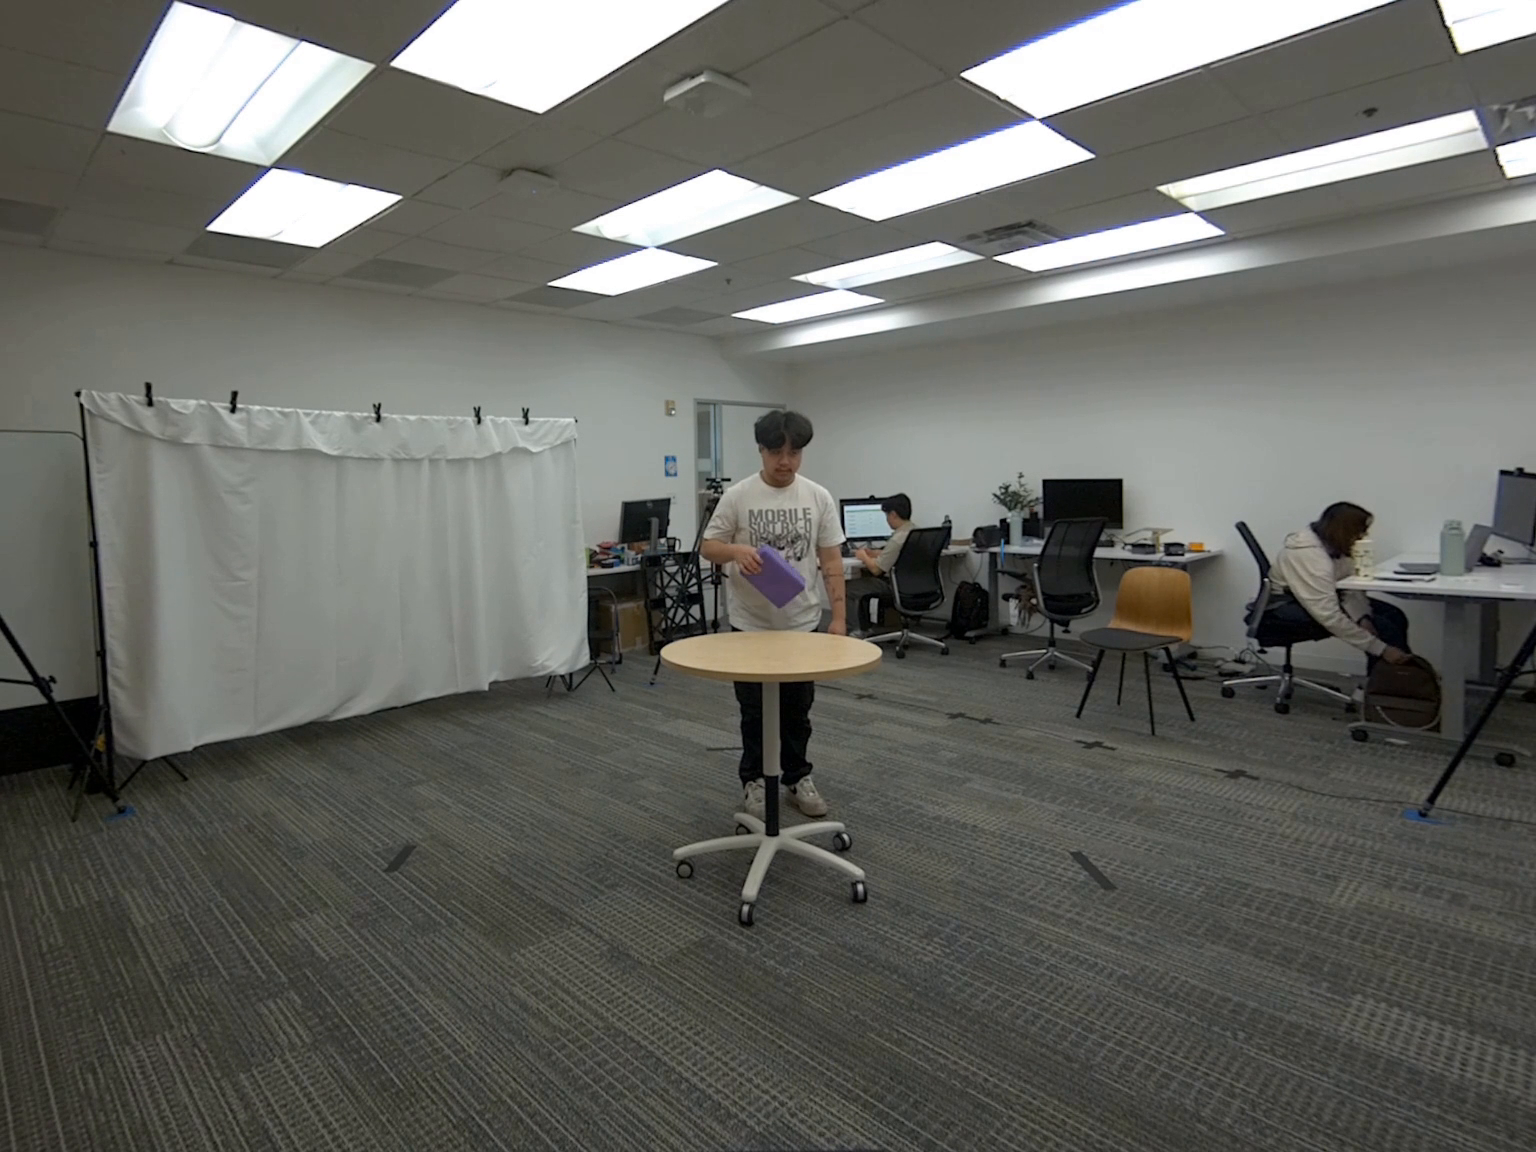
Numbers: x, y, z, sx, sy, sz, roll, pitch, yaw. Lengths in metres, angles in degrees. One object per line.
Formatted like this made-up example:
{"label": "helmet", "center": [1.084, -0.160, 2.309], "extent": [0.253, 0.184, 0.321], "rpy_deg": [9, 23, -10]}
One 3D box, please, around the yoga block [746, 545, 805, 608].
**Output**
{"label": "yoga block", "center": [0.012, 0.006, 3.360], "extent": [0.149, 0.225, 0.077], "rpy_deg": [-37, 14, 21]}
